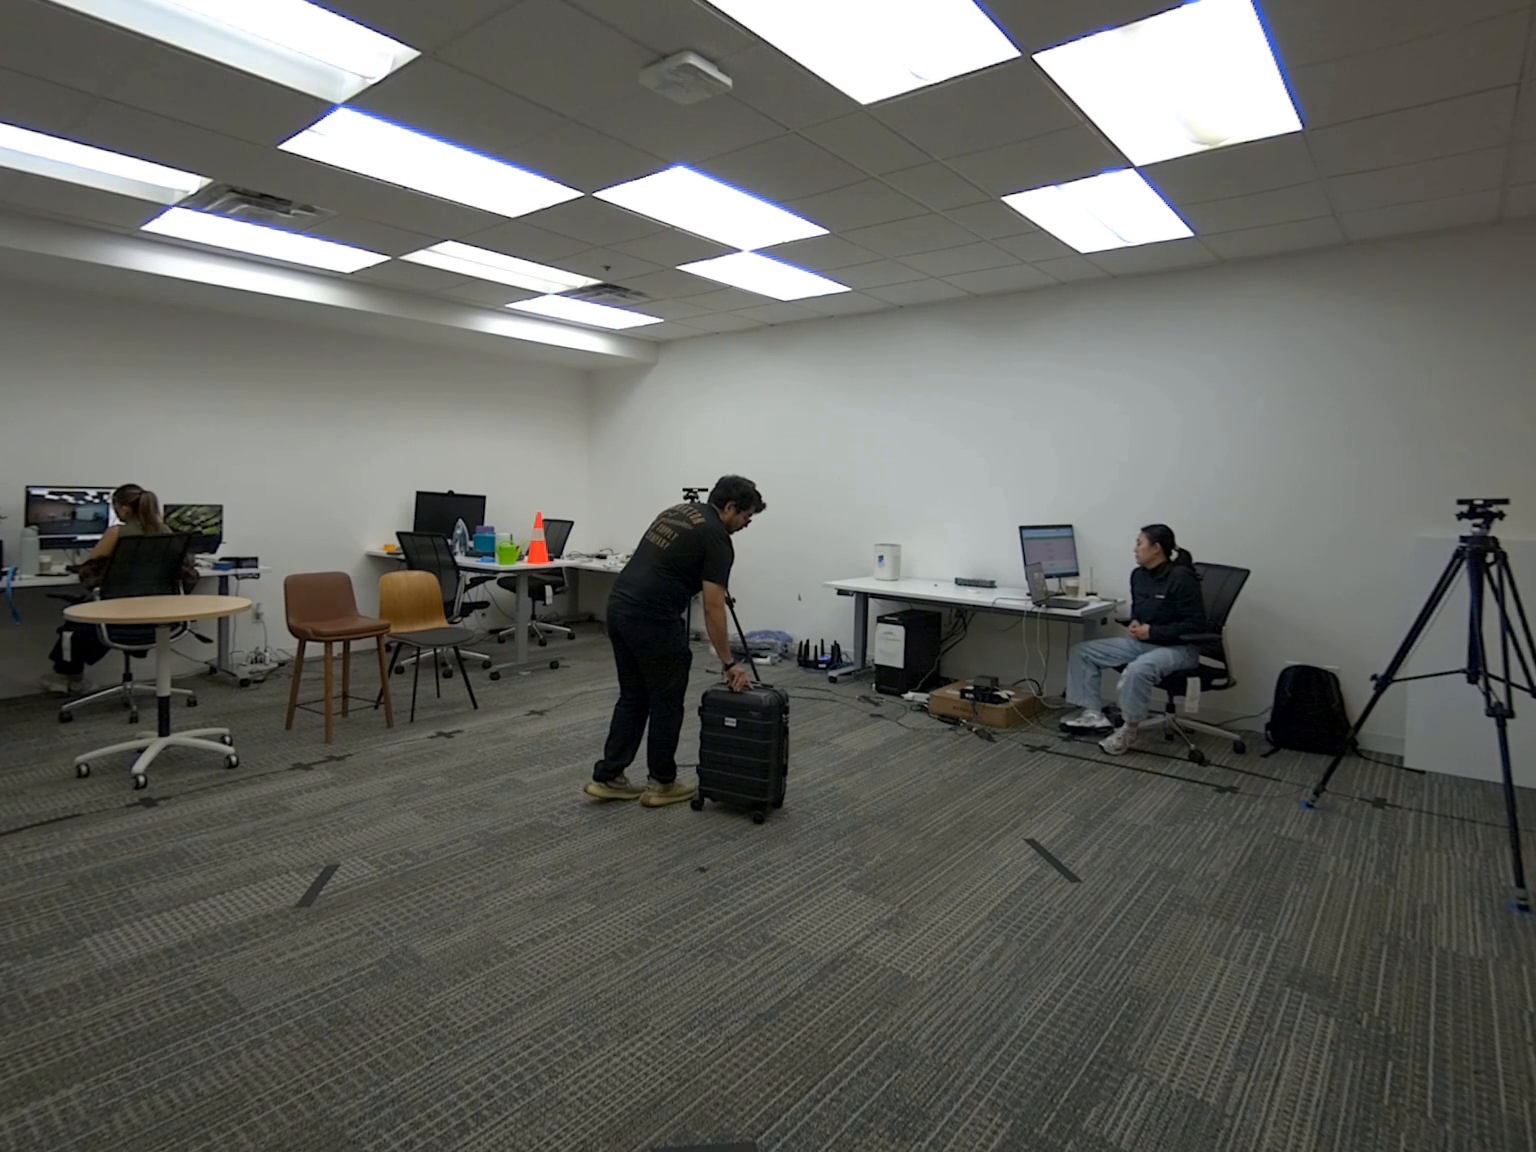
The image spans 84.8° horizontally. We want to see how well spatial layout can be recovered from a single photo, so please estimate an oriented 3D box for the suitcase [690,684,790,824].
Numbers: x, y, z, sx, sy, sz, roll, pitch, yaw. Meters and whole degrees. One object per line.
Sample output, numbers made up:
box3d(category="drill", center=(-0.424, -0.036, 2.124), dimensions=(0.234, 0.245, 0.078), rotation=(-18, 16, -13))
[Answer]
box3d(category="suitcase", center=(-0.109, 0.740, 3.705), dimensions=(0.385, 0.548, 0.243), rotation=(4, 4, 25))
